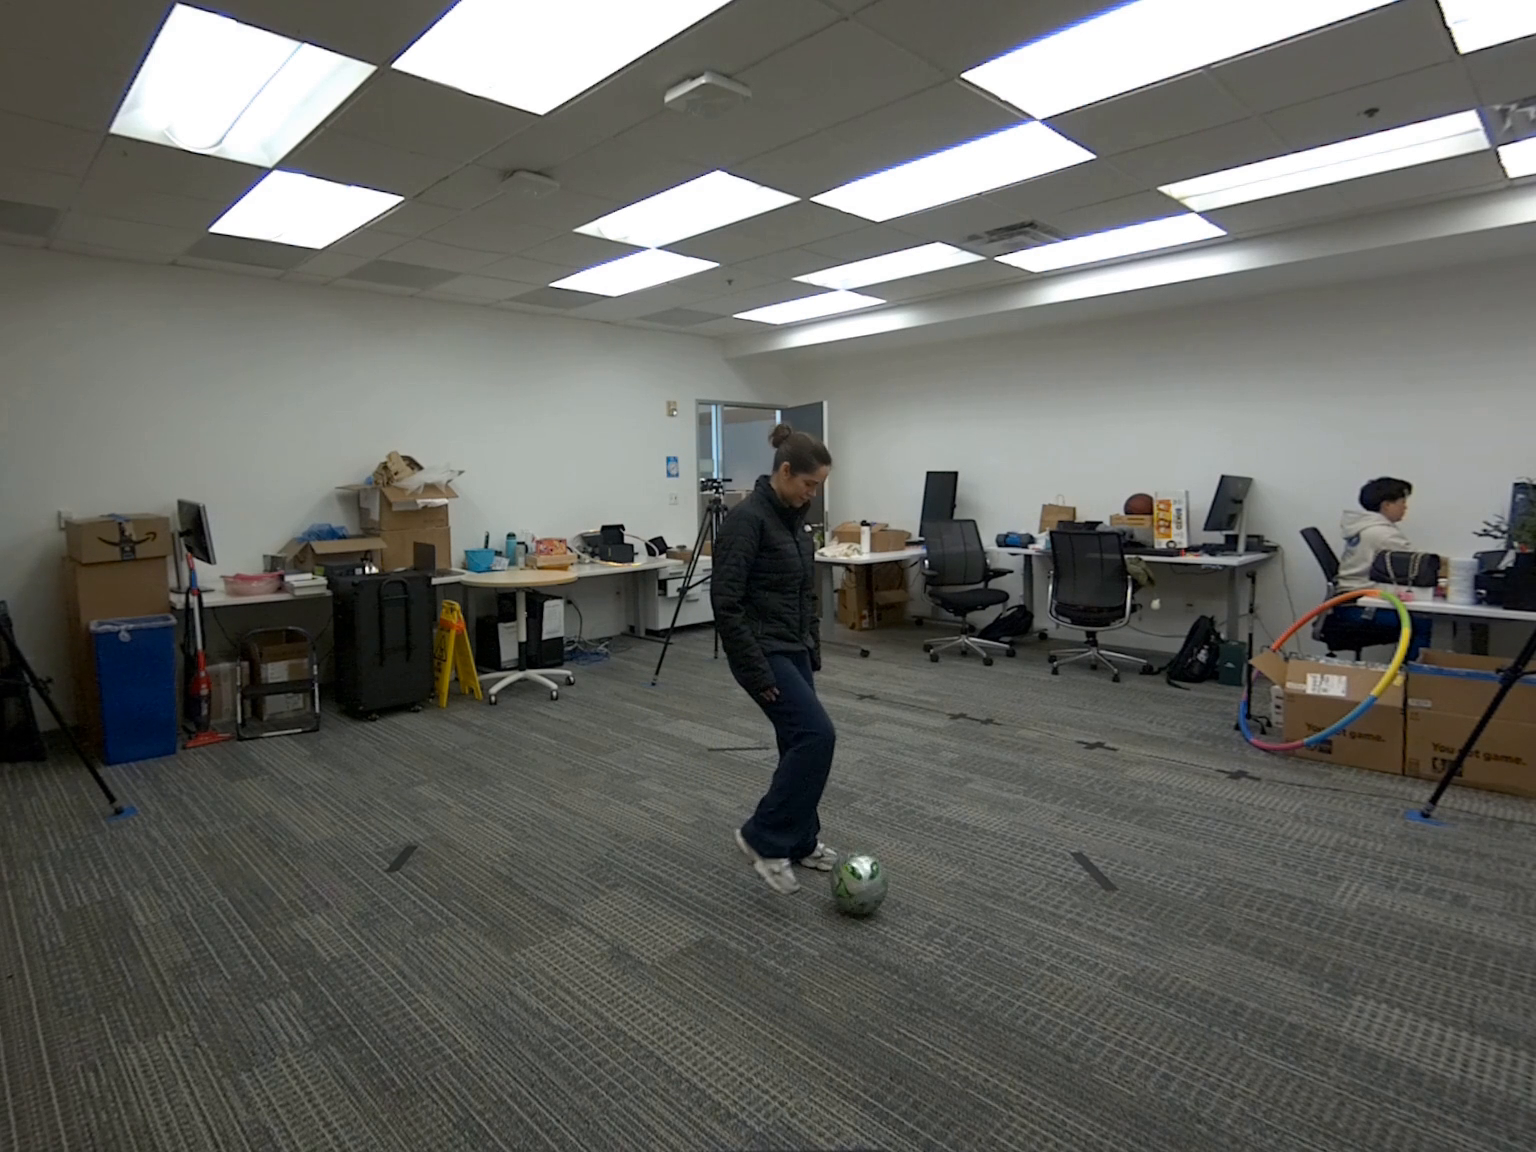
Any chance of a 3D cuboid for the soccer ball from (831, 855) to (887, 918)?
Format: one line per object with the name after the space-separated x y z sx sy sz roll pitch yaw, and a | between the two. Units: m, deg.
0.288 0.981 2.740 0.187 0.187 0.188 -1 5 -2 | soccer ball
